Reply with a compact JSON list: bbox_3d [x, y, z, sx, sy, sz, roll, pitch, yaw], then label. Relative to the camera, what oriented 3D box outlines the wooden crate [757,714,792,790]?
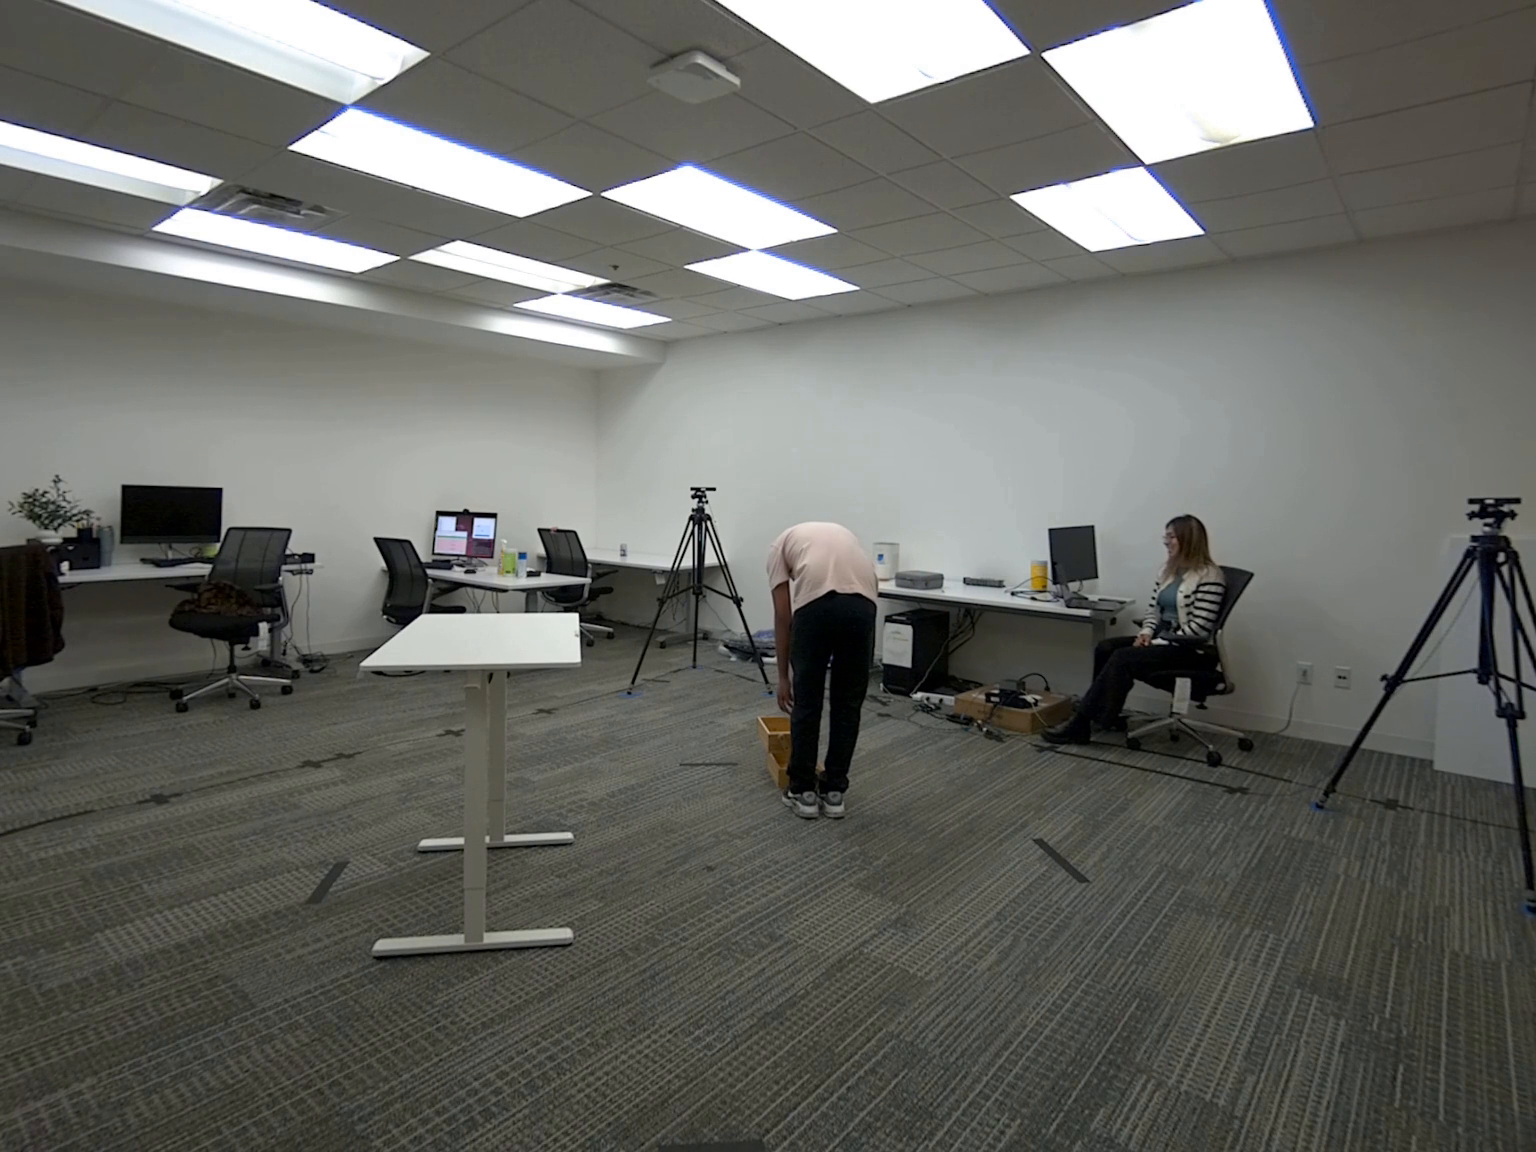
[{"bbox_3d":[0.115,0.839,4.121,0.299,0.272,0.329,-1,5,-9],"label":"wooden crate"}]
